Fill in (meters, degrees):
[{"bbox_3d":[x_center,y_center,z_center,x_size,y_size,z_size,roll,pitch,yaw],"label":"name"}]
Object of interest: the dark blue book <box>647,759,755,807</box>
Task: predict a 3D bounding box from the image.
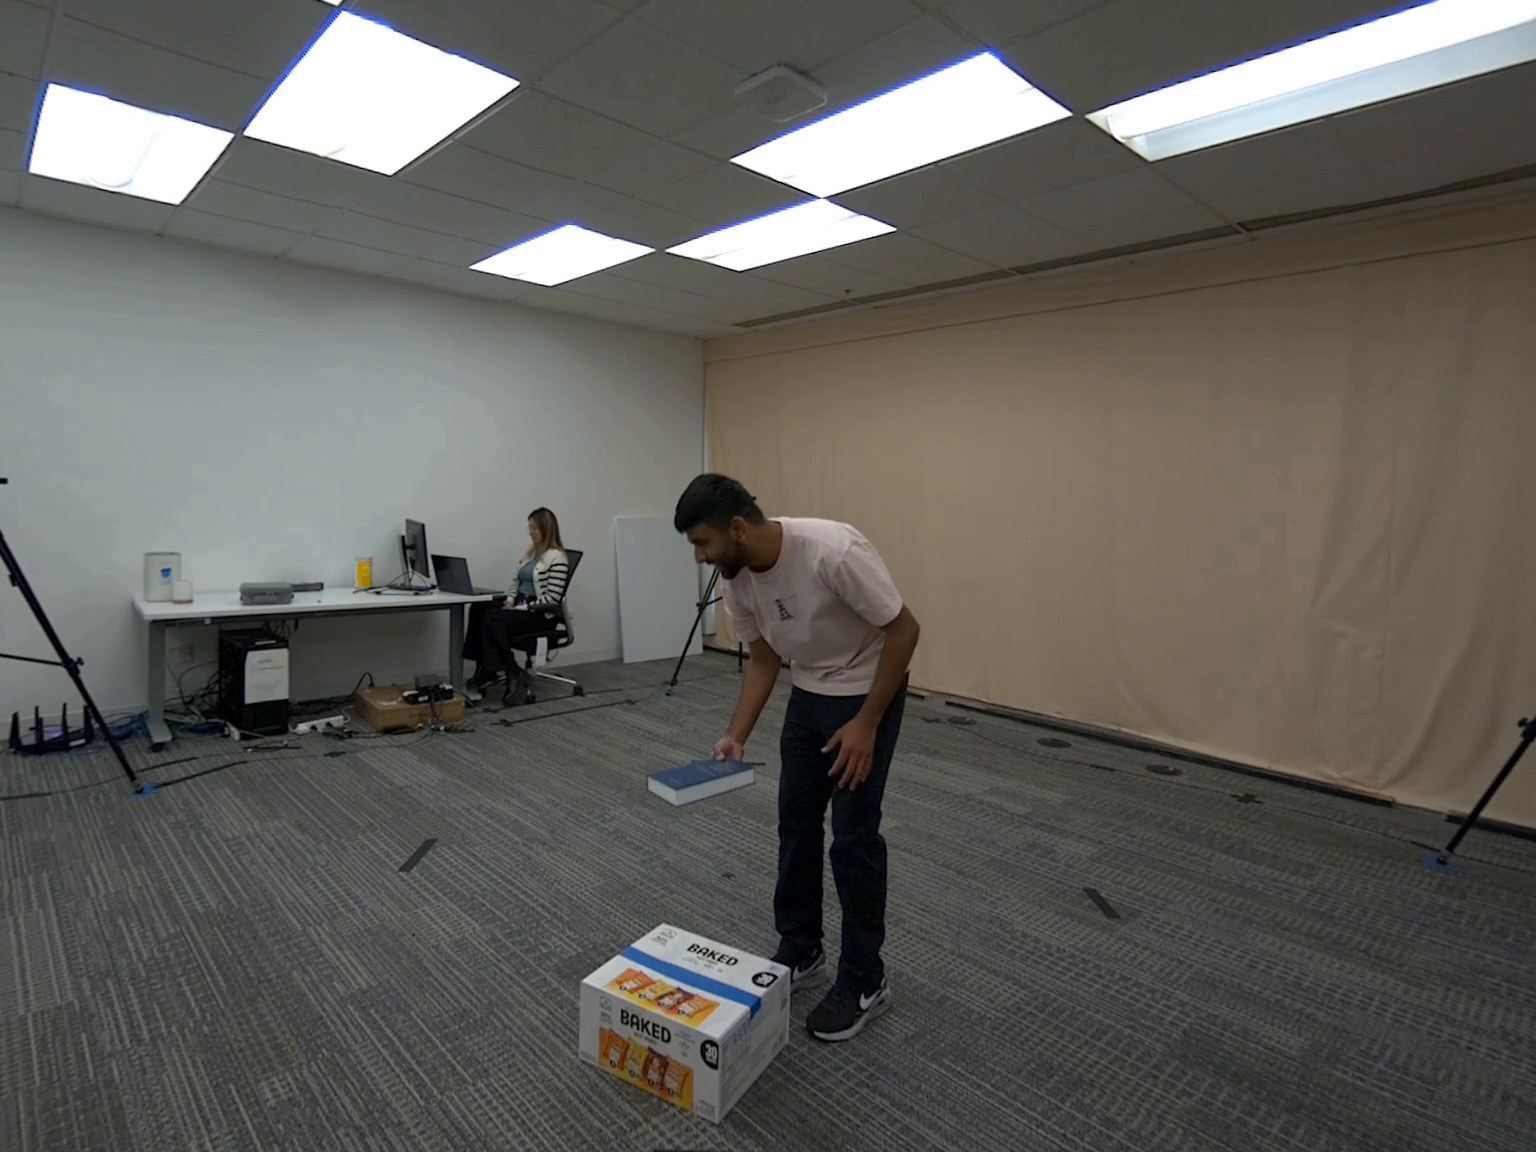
[{"bbox_3d":[-0.183,0.533,2.221,0.240,0.045,0.167,-7,6,-33],"label":"dark blue book"}]
